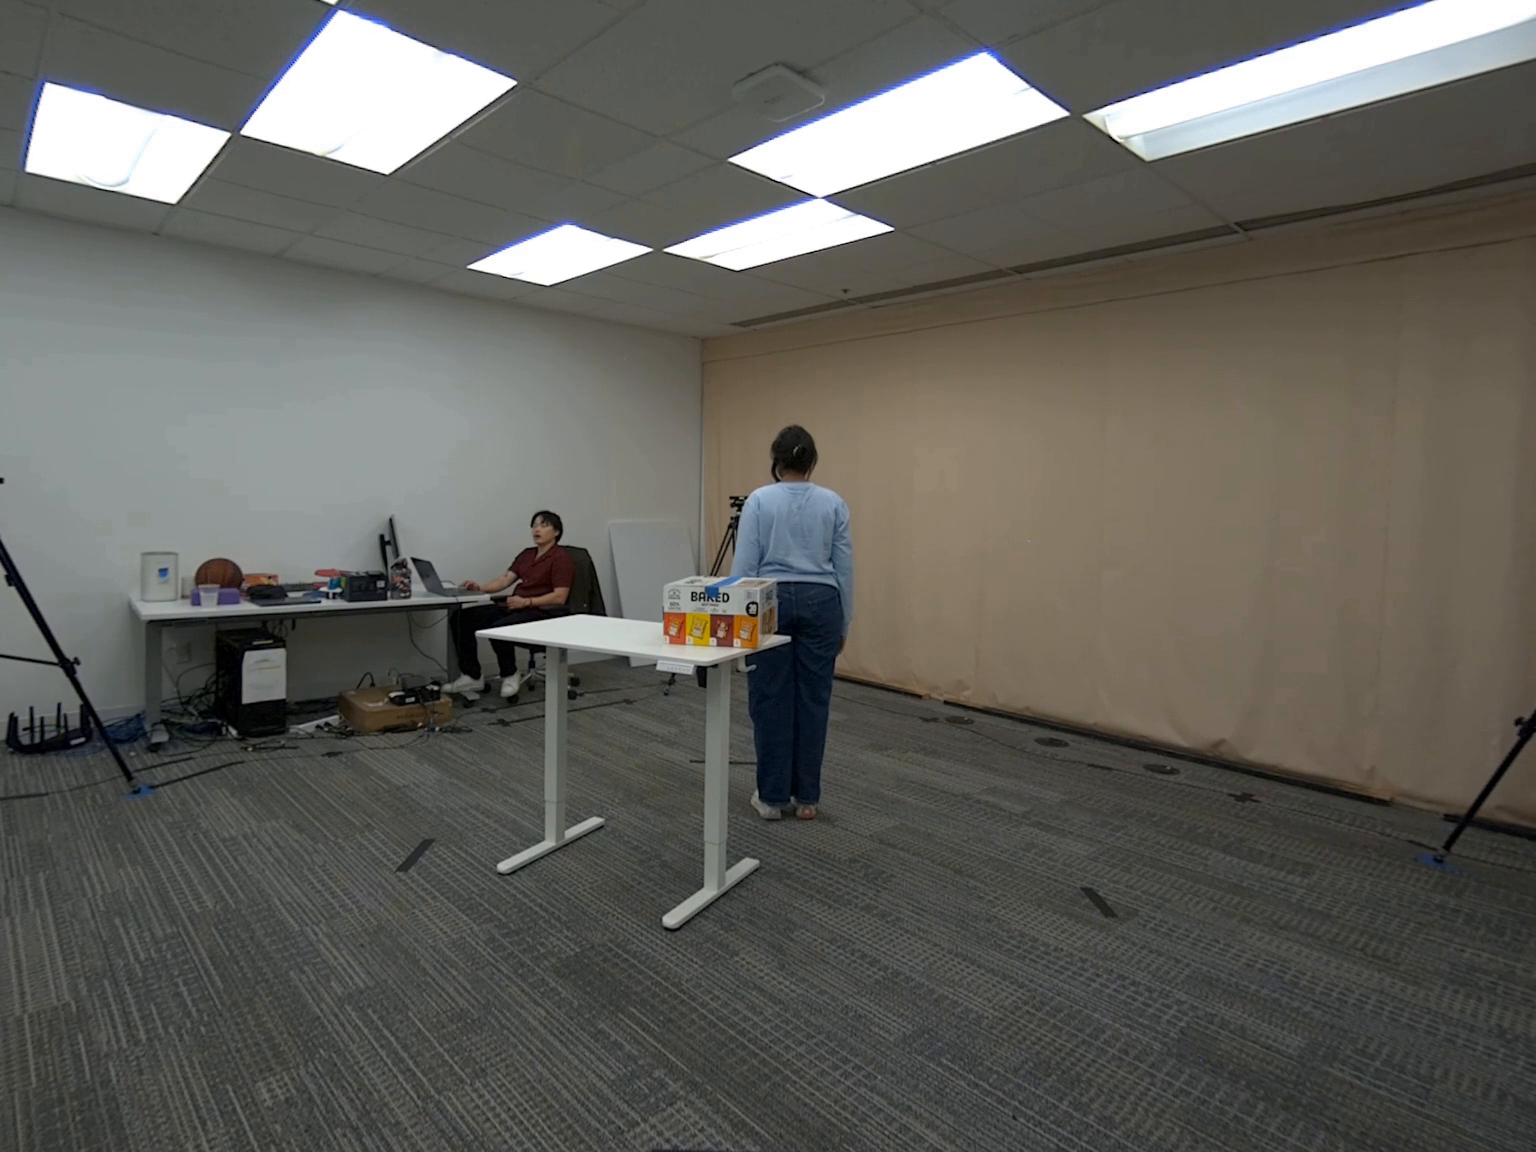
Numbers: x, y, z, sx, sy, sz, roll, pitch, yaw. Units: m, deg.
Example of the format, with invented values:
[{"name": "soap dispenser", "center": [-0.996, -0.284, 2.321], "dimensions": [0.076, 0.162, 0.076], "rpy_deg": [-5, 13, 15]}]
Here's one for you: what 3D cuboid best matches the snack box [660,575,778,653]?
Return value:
[{"name": "snack box", "center": [-0.162, 0.124, 3.052], "dimensions": [0.344, 0.205, 0.402], "rpy_deg": [3, 5, 11]}]
